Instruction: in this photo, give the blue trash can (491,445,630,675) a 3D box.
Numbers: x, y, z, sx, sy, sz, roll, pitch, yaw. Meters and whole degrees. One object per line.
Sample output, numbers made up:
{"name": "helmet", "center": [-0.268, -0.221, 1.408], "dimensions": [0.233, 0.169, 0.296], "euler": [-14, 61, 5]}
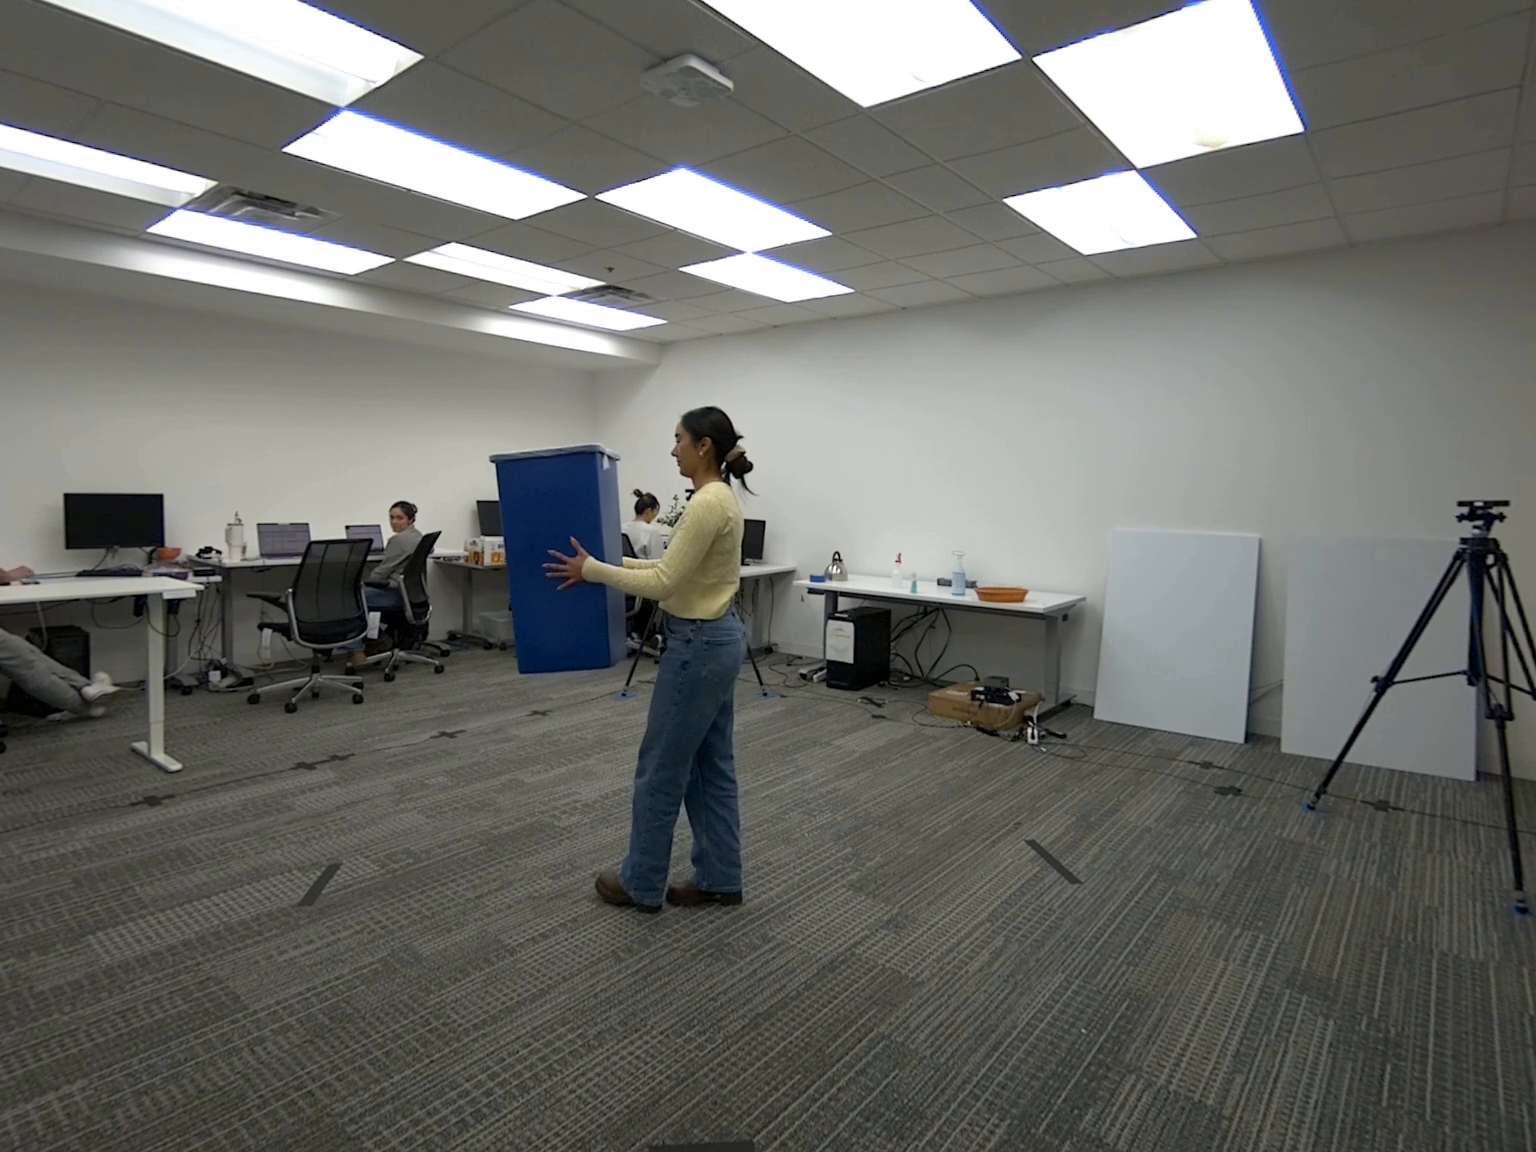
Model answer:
{"name": "blue trash can", "center": [-0.703, -0.061, 2.860], "dimensions": [0.376, 0.714, 0.376], "euler": [-4, 0, 4]}
